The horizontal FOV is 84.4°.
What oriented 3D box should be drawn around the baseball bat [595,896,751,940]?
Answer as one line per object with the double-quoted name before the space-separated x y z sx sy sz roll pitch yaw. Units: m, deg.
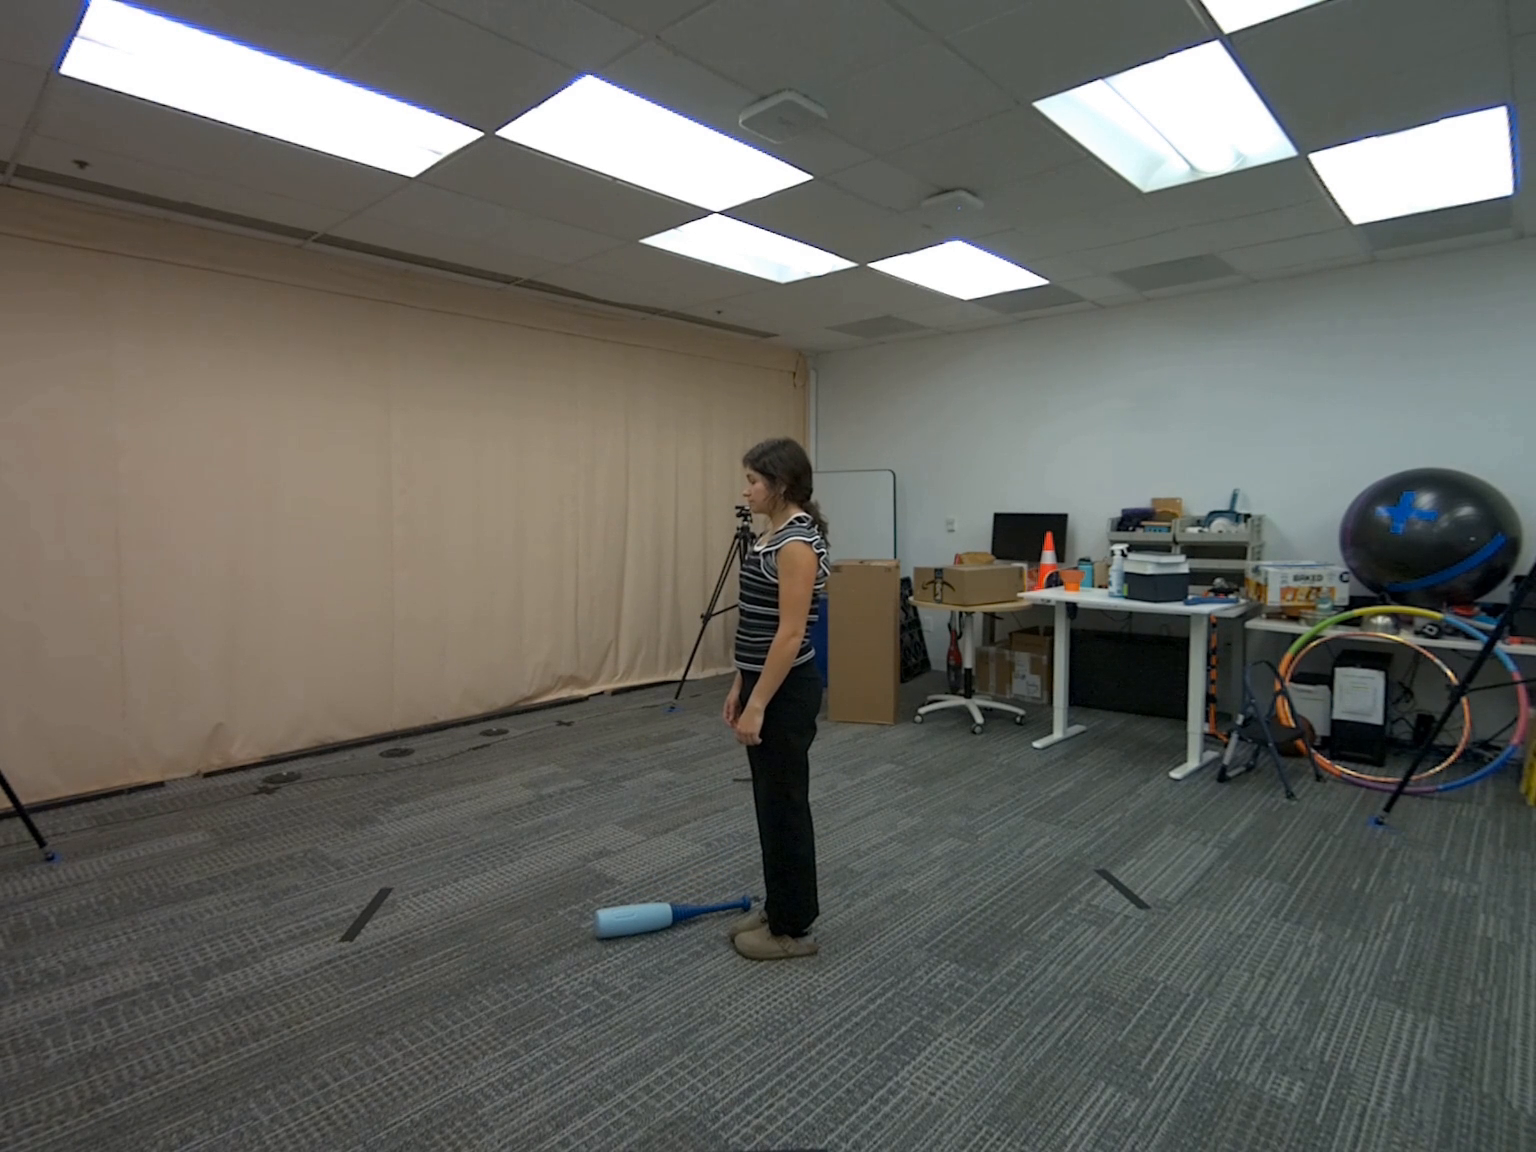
"baseball bat" -0.310 1.126 2.801 0.531 0.089 0.091 0 3 -22
